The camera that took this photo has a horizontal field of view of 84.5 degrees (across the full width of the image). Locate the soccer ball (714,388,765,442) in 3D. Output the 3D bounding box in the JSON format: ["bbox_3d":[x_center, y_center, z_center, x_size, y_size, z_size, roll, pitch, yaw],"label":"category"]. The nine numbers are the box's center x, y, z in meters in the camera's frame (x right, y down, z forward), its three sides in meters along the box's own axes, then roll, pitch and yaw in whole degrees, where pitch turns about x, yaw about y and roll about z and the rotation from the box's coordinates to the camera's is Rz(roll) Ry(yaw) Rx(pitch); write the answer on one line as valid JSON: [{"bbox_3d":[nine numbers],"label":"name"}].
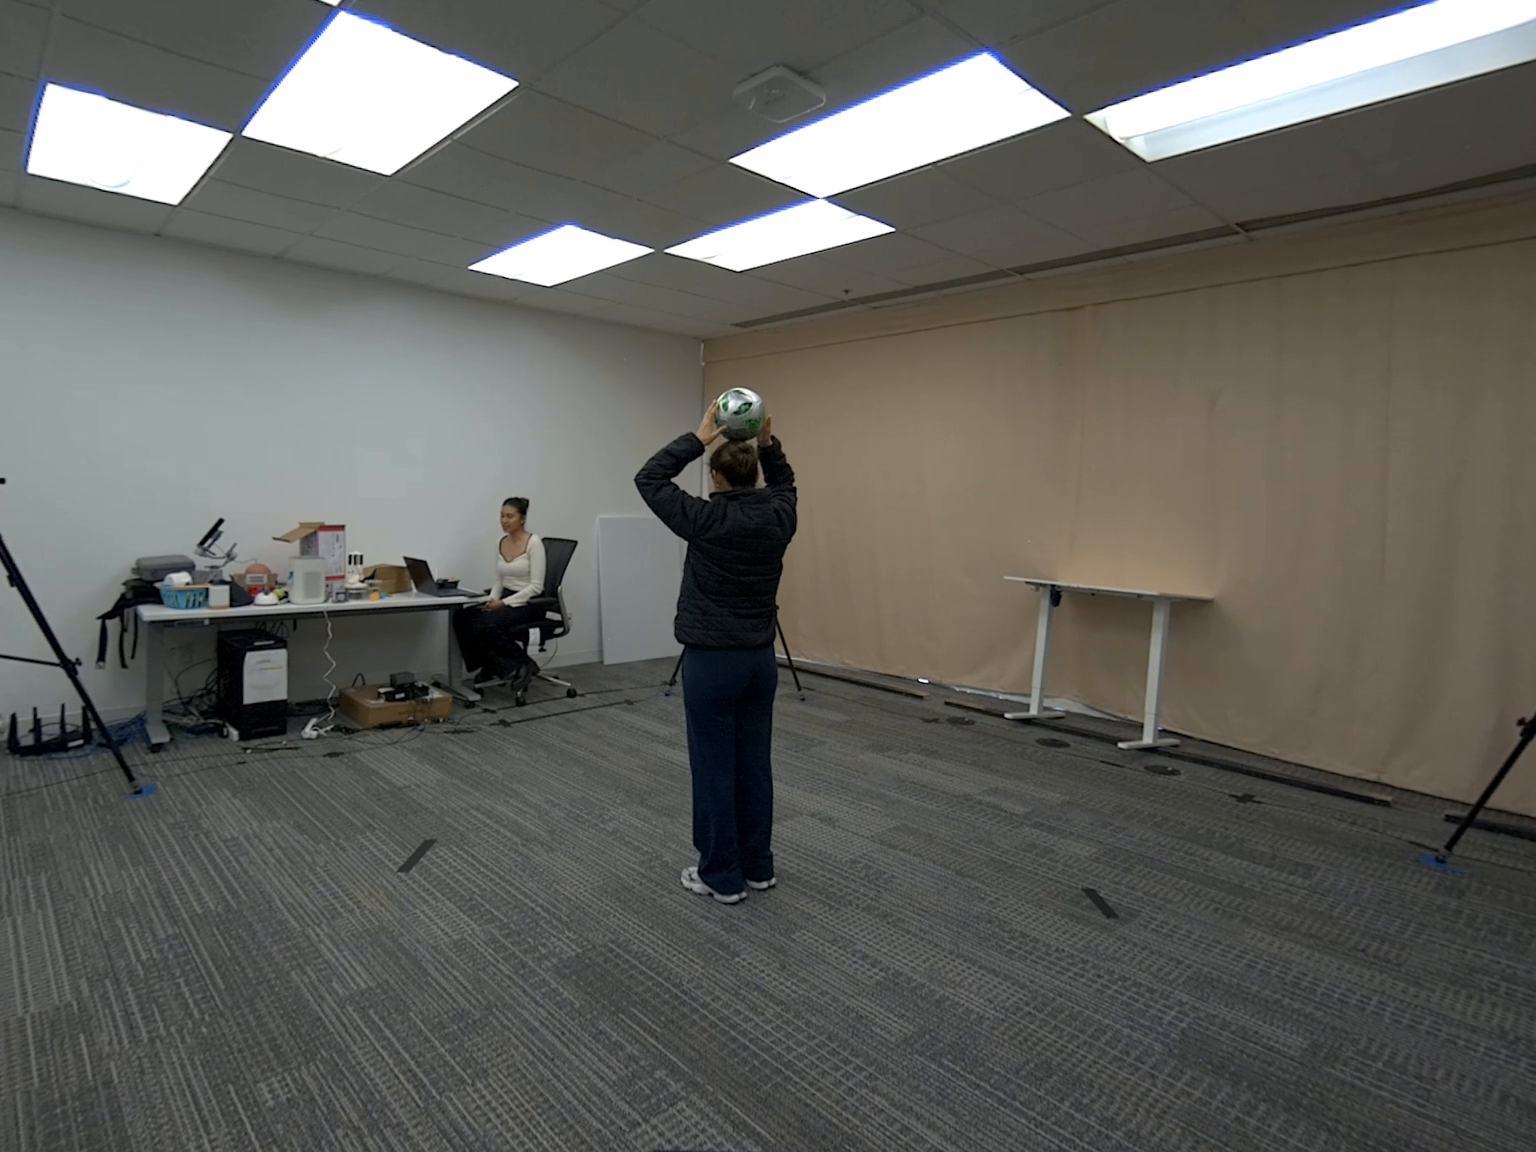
[{"bbox_3d":[-0.105,-0.564,2.949,0.187,0.187,0.188,1,4,-1],"label":"soccer ball"}]
